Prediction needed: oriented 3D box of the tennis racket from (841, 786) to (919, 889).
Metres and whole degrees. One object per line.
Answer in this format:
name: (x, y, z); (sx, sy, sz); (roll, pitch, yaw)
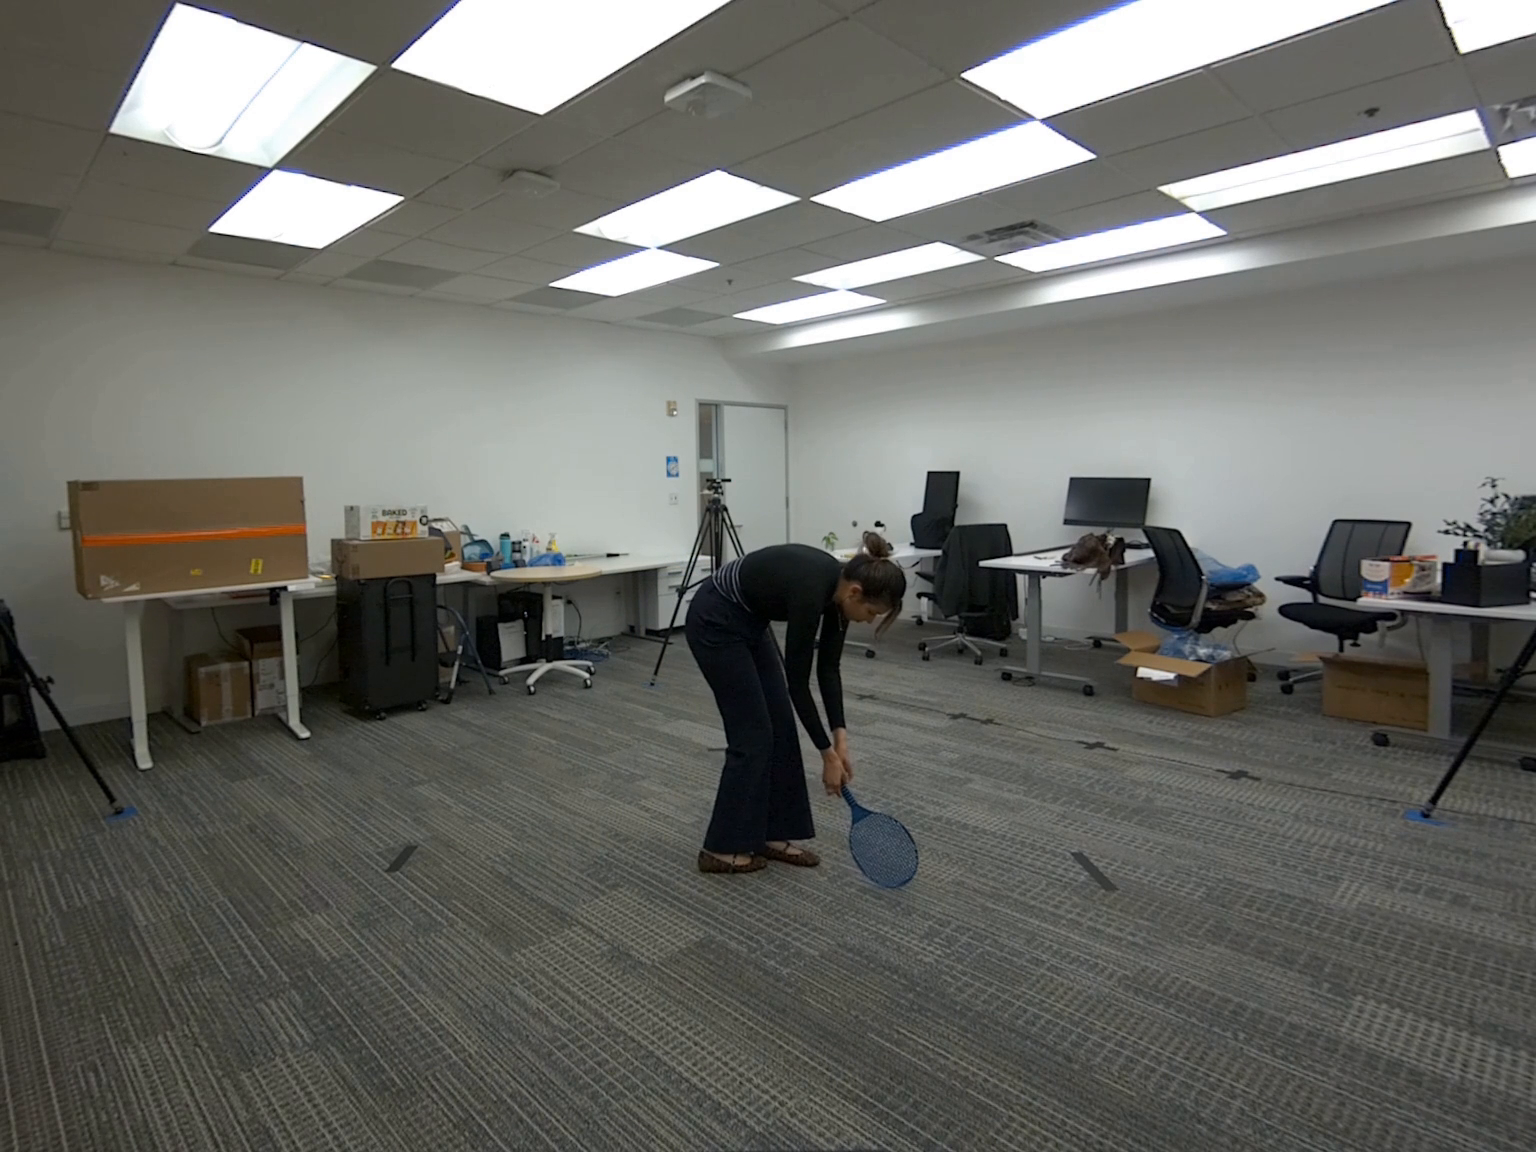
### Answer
tennis racket: (0.335, 0.865, 2.917); (0.214, 0.438, 0.031); (-39, -9, 10)
